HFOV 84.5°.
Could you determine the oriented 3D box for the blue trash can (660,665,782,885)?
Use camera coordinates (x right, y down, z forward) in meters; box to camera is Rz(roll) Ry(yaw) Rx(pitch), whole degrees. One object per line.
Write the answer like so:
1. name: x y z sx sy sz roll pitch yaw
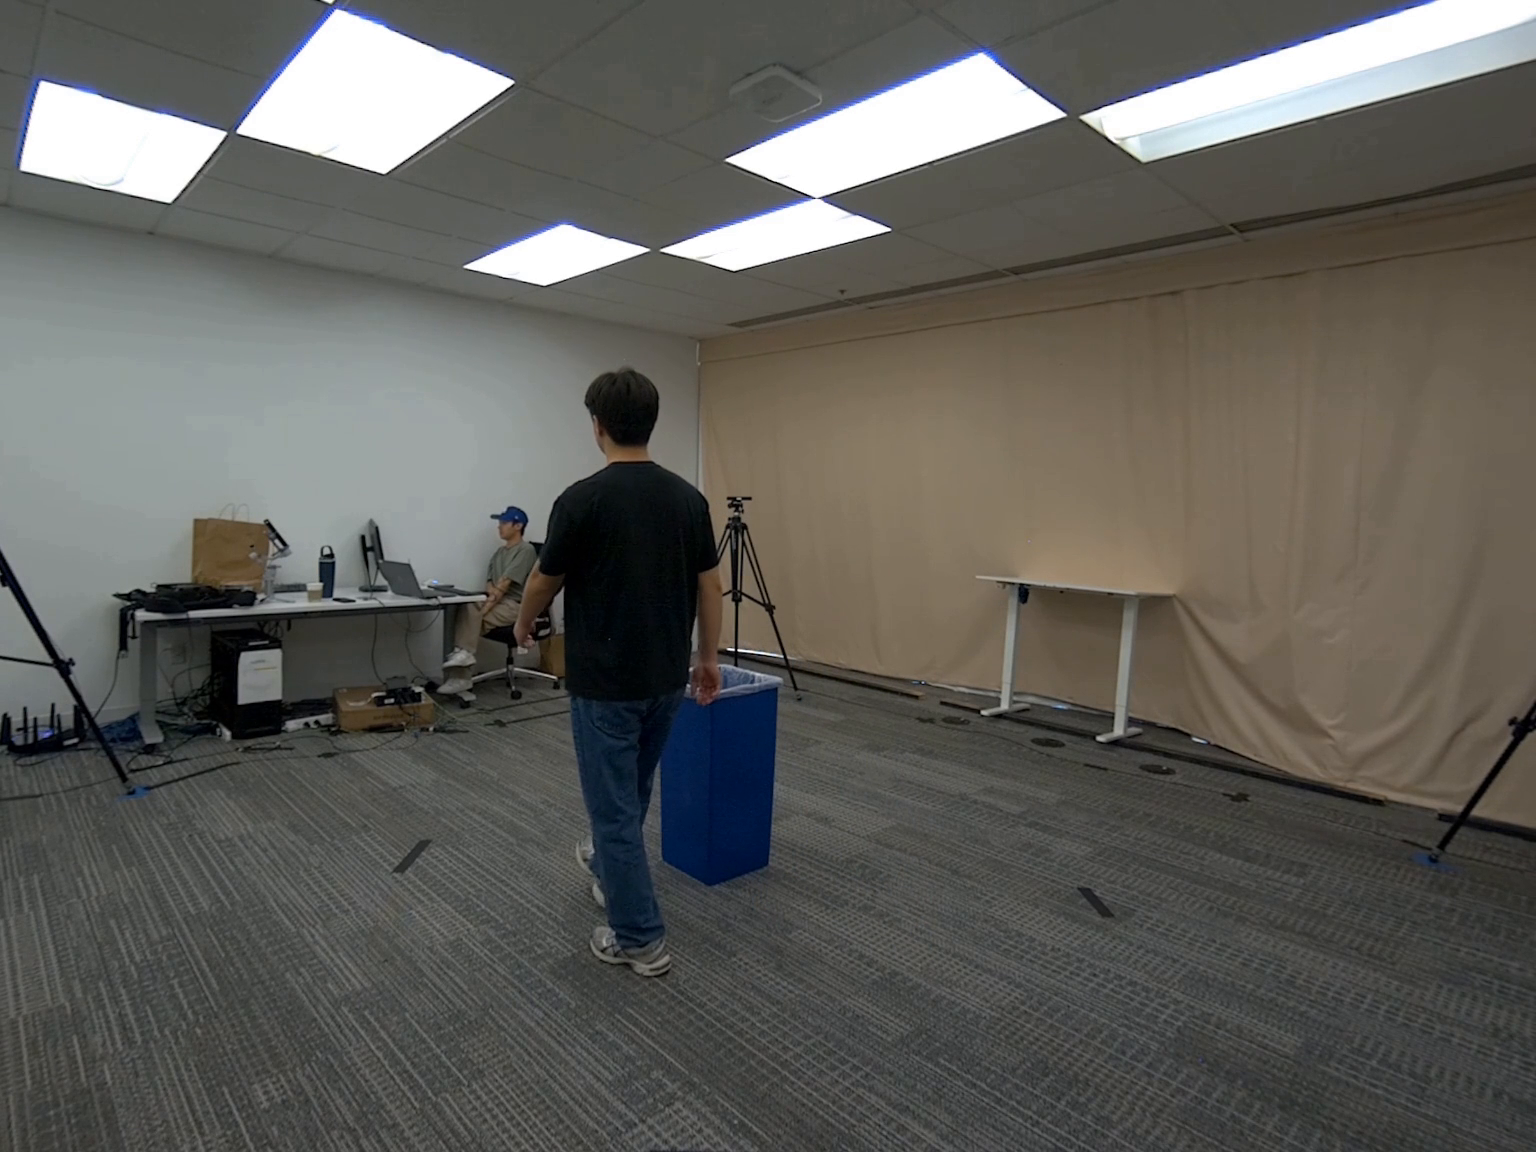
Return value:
1. blue trash can: -0.200 0.740 3.195 0.365 0.712 0.387 -1 4 -43
